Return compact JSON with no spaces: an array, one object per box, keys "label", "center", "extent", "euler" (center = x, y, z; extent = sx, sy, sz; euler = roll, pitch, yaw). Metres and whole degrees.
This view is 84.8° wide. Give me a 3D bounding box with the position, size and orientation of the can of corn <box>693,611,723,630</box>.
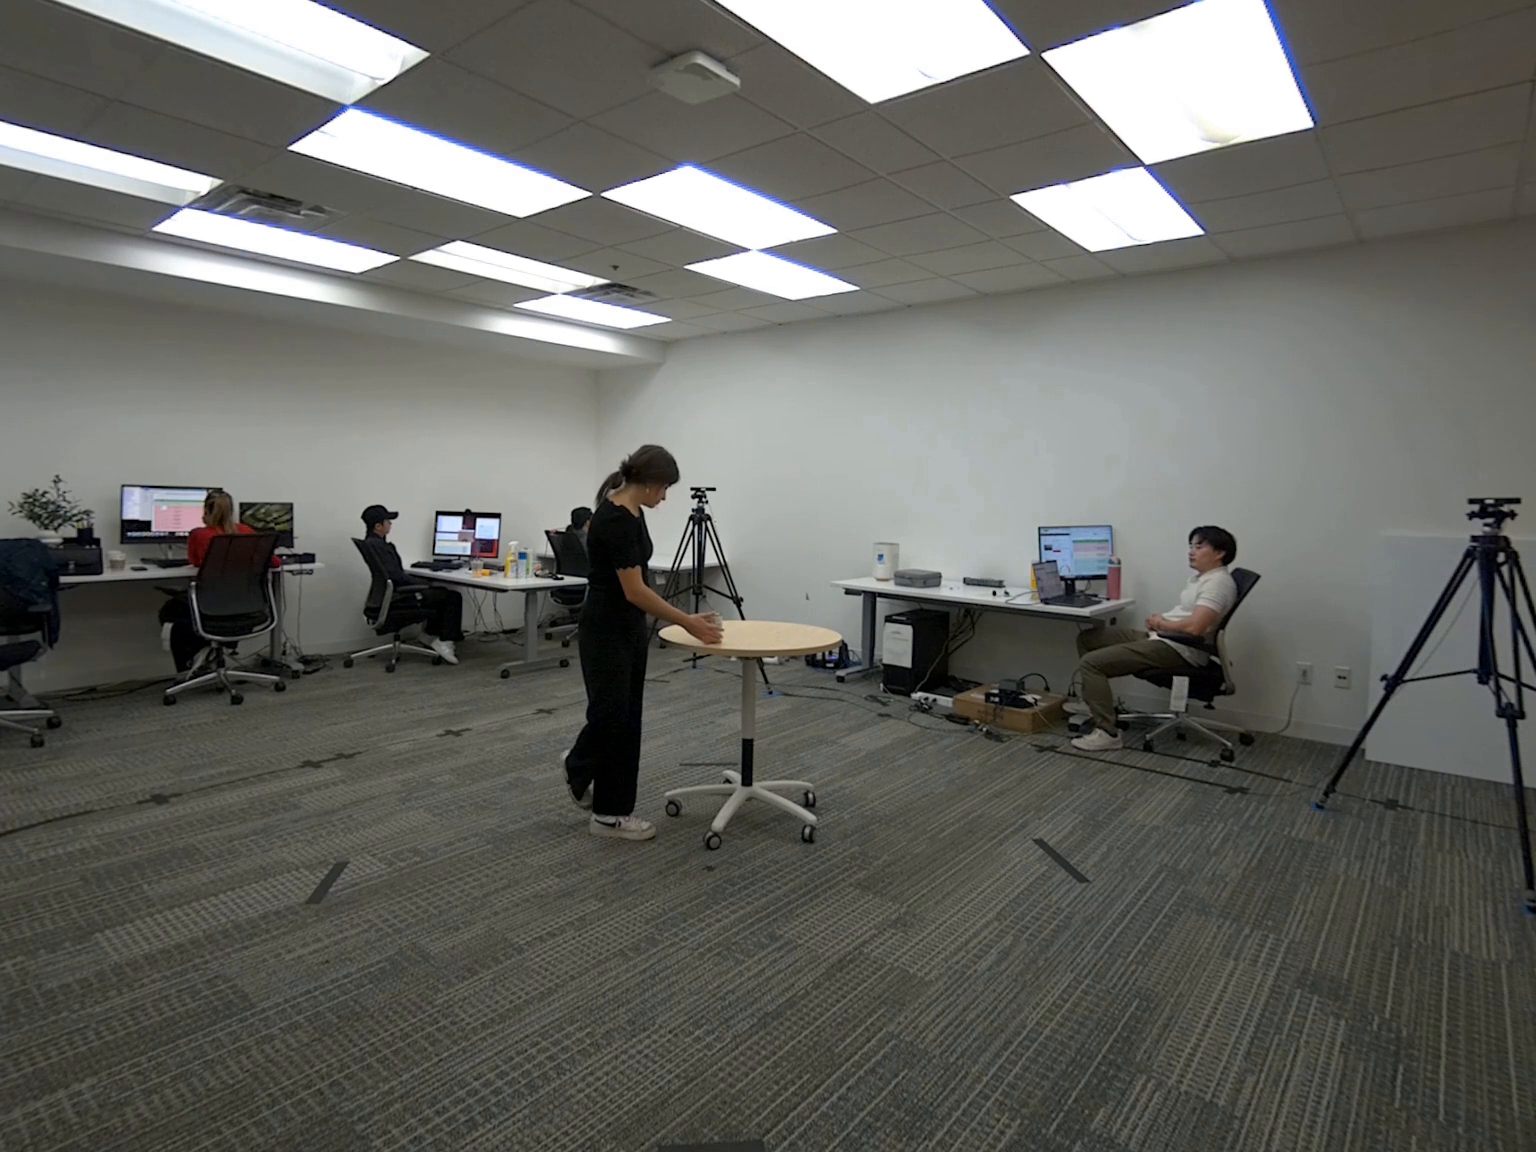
[{"label":"can of corn","center":[-0.229,0.206,3.342],"extent":[0.074,0.110,0.074],"euler":[0,5,-2]}]
